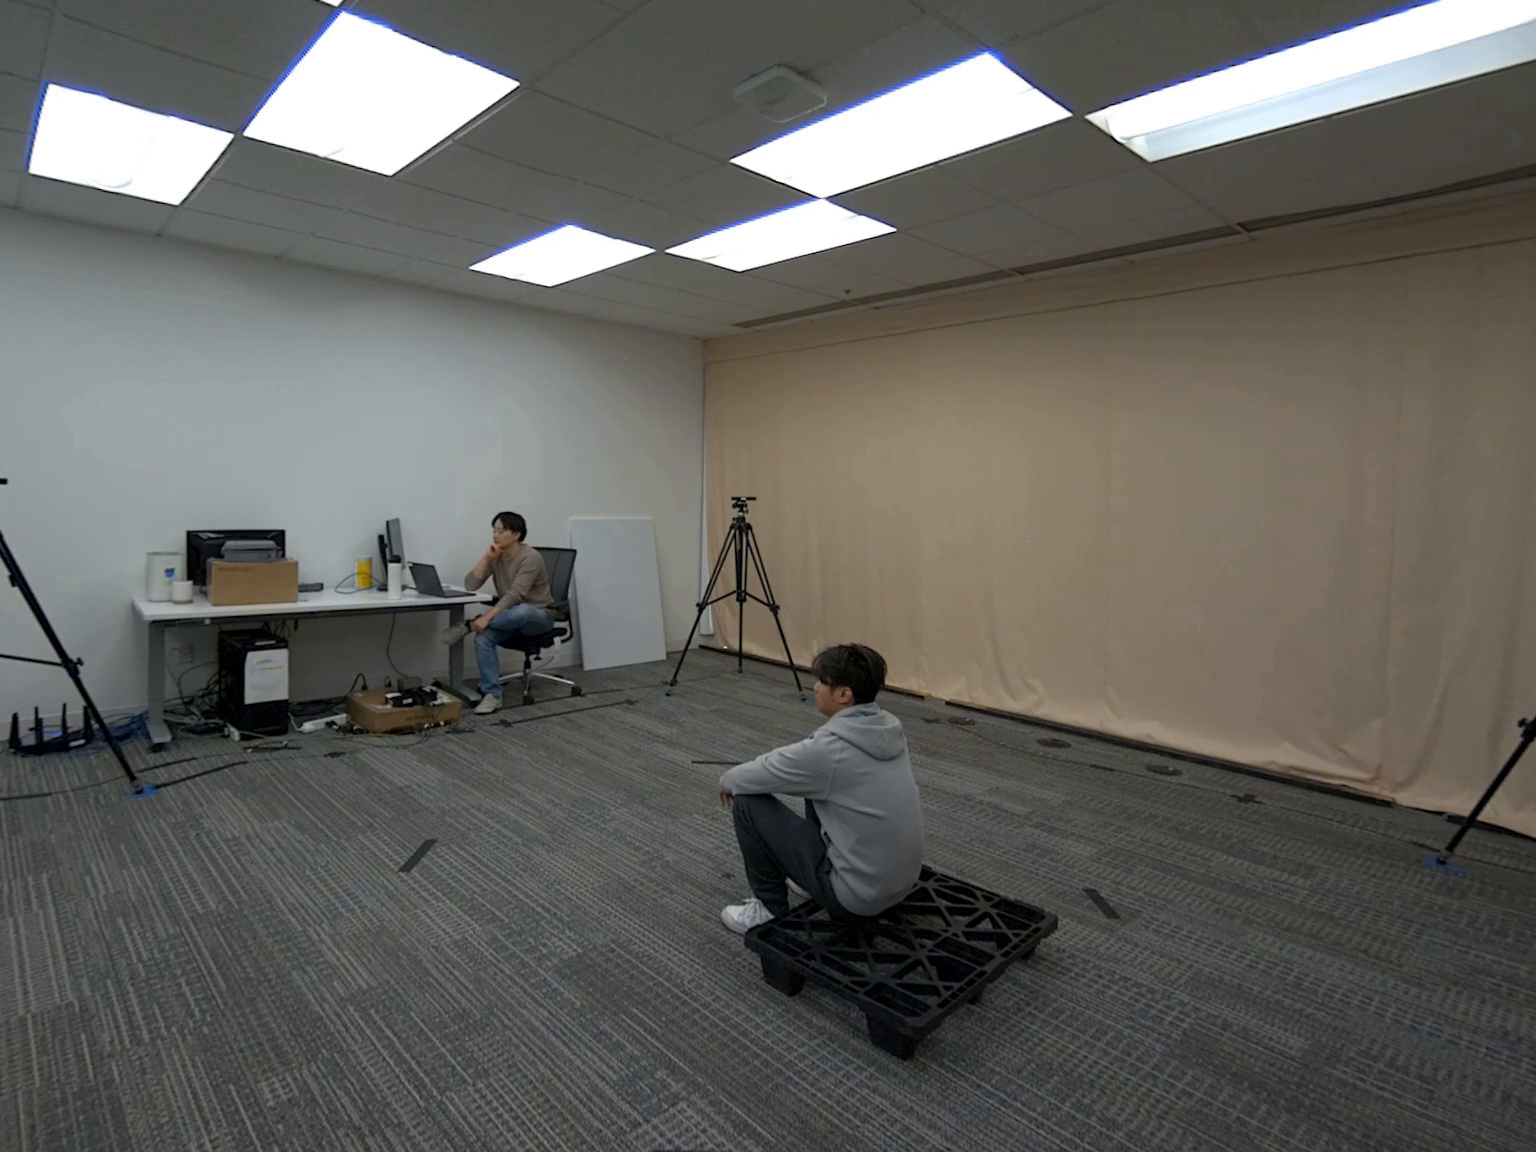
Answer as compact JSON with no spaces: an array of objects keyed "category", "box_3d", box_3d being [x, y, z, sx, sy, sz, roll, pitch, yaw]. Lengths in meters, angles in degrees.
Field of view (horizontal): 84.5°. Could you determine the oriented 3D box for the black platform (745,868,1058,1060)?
[{"category":"black platform","box_3d":[0.400,1.108,2.518,0.620,0.143,0.787,6,7,43]}]
